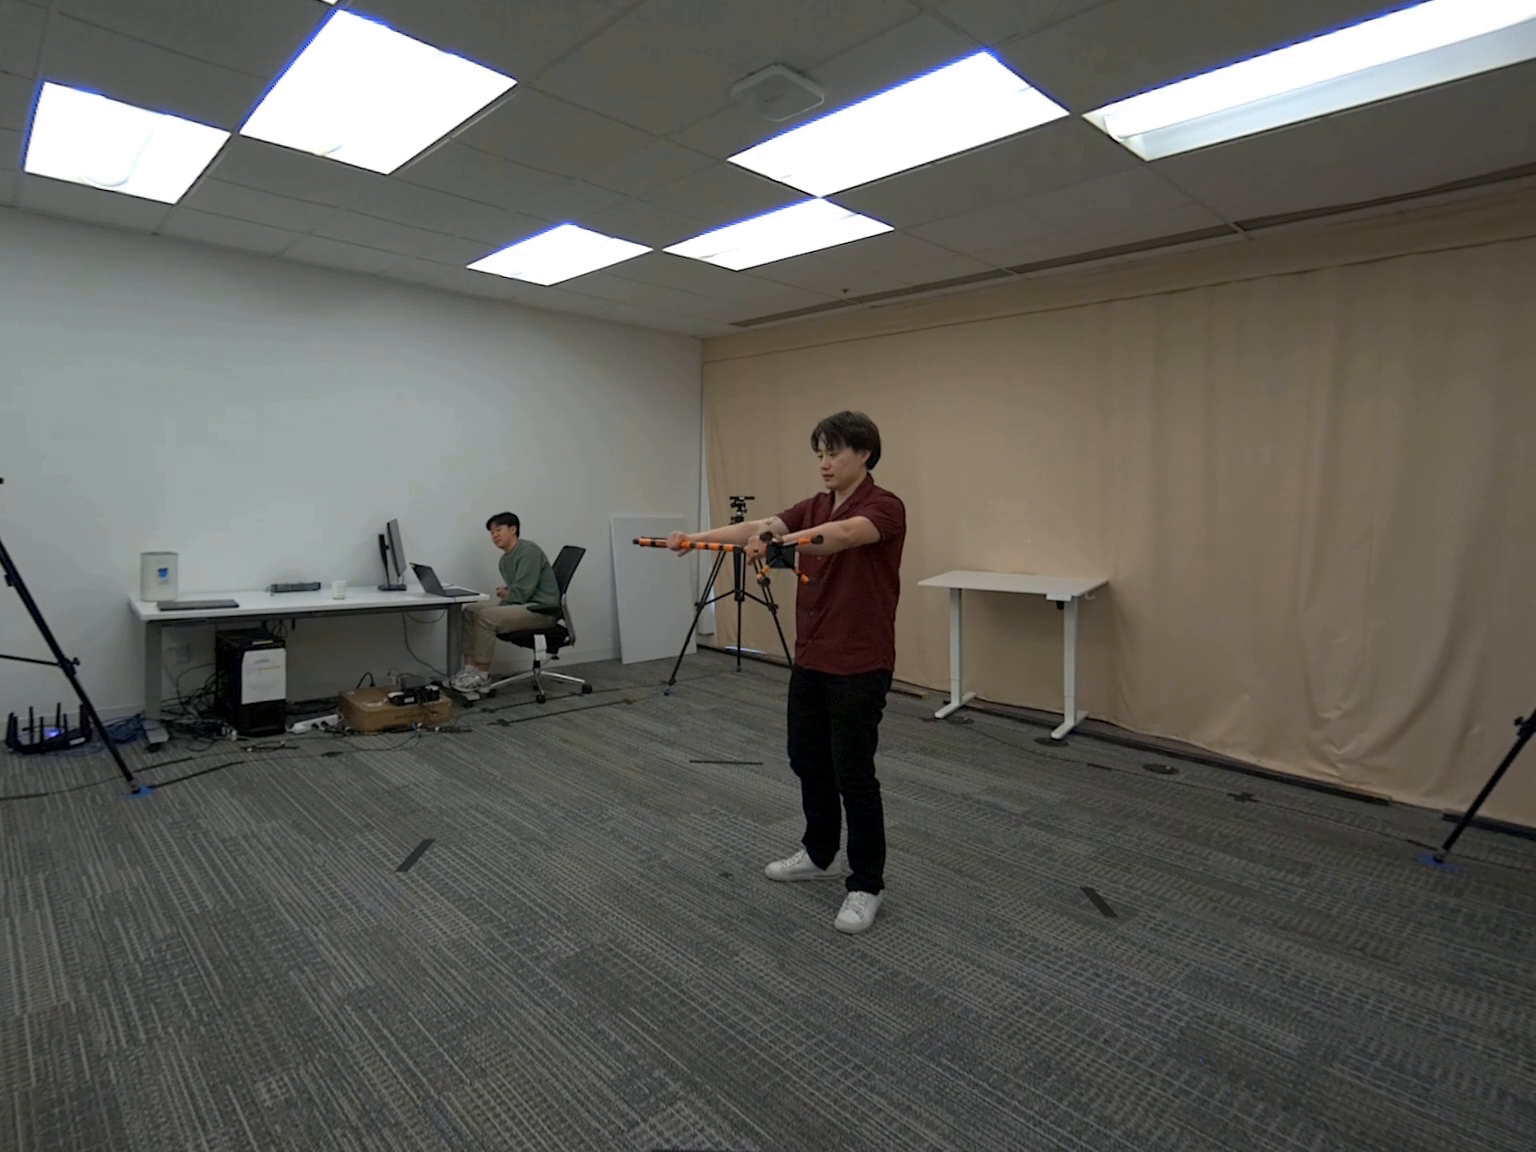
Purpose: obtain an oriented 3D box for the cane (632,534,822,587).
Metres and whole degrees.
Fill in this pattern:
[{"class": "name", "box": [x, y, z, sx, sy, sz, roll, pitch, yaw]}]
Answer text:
[{"class": "cane", "box": [-0.221, -0.083, 2.690, 0.202, 0.151, 0.930, 3, 3, -35]}]
